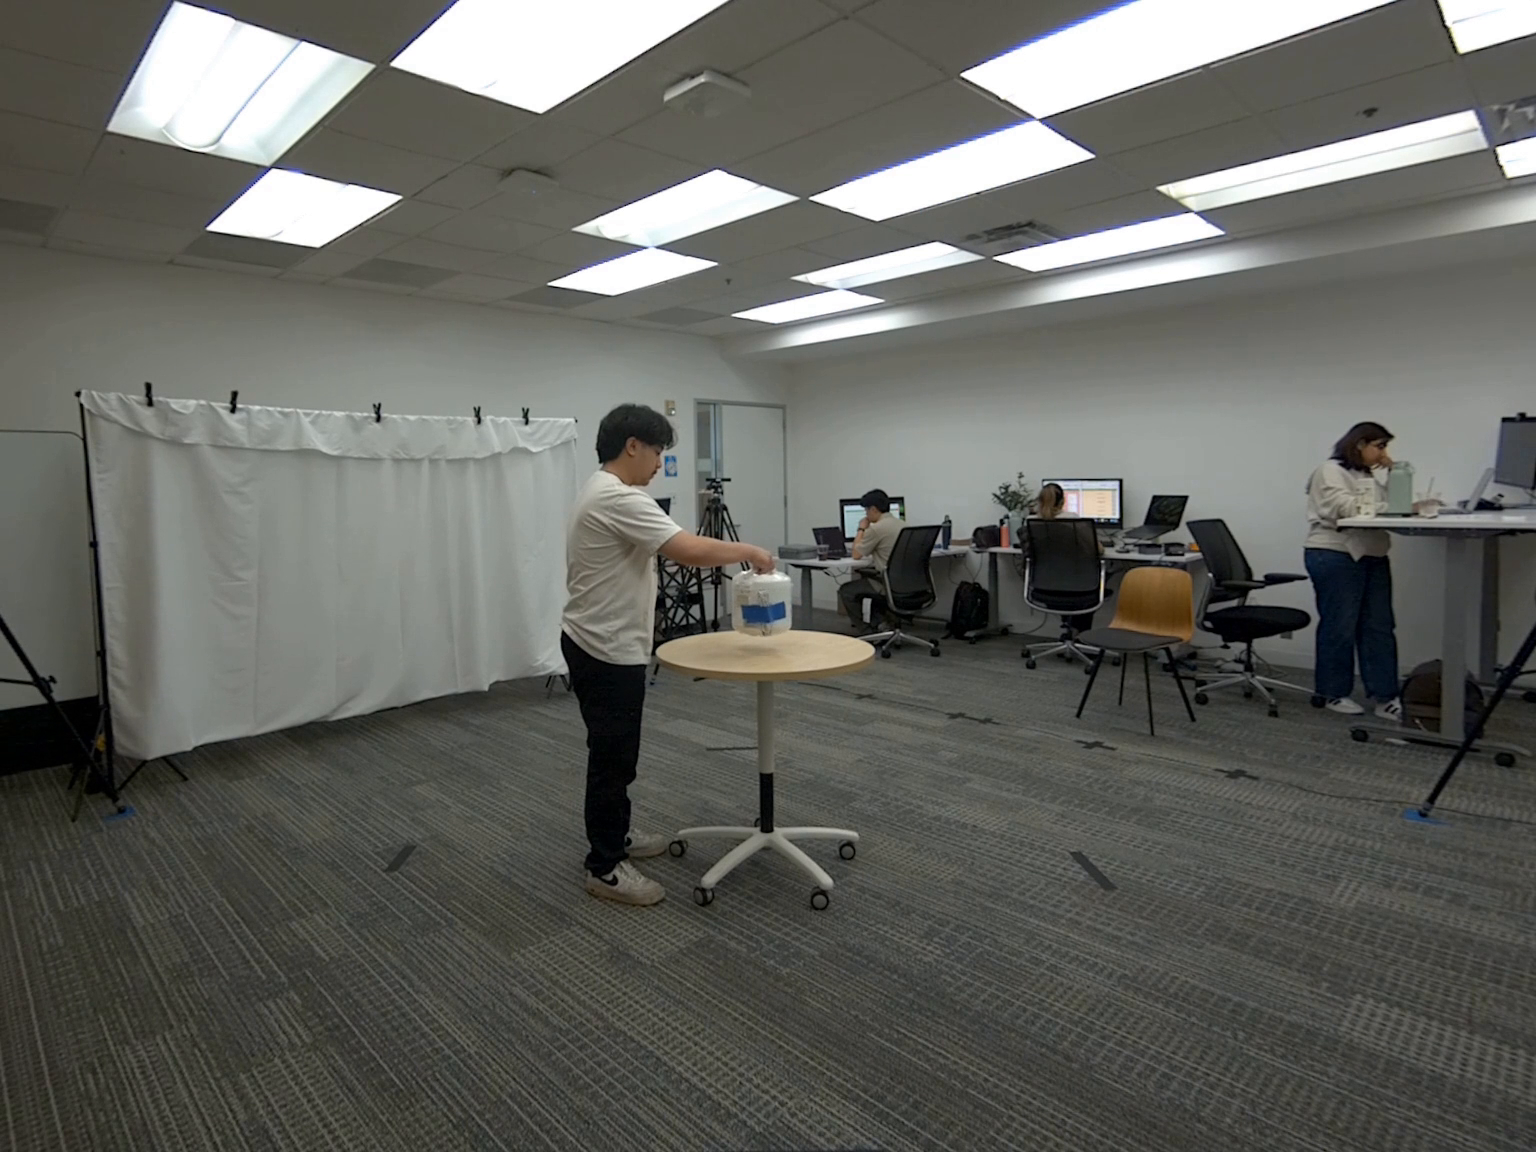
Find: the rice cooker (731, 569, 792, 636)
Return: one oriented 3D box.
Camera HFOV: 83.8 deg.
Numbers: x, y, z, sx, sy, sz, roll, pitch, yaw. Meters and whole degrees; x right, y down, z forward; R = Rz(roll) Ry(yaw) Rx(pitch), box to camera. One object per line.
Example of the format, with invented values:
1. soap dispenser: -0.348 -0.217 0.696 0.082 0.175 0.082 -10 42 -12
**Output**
1. rice cooker: -0.028 0.079 2.966 0.224 0.232 0.215 5 7 38
